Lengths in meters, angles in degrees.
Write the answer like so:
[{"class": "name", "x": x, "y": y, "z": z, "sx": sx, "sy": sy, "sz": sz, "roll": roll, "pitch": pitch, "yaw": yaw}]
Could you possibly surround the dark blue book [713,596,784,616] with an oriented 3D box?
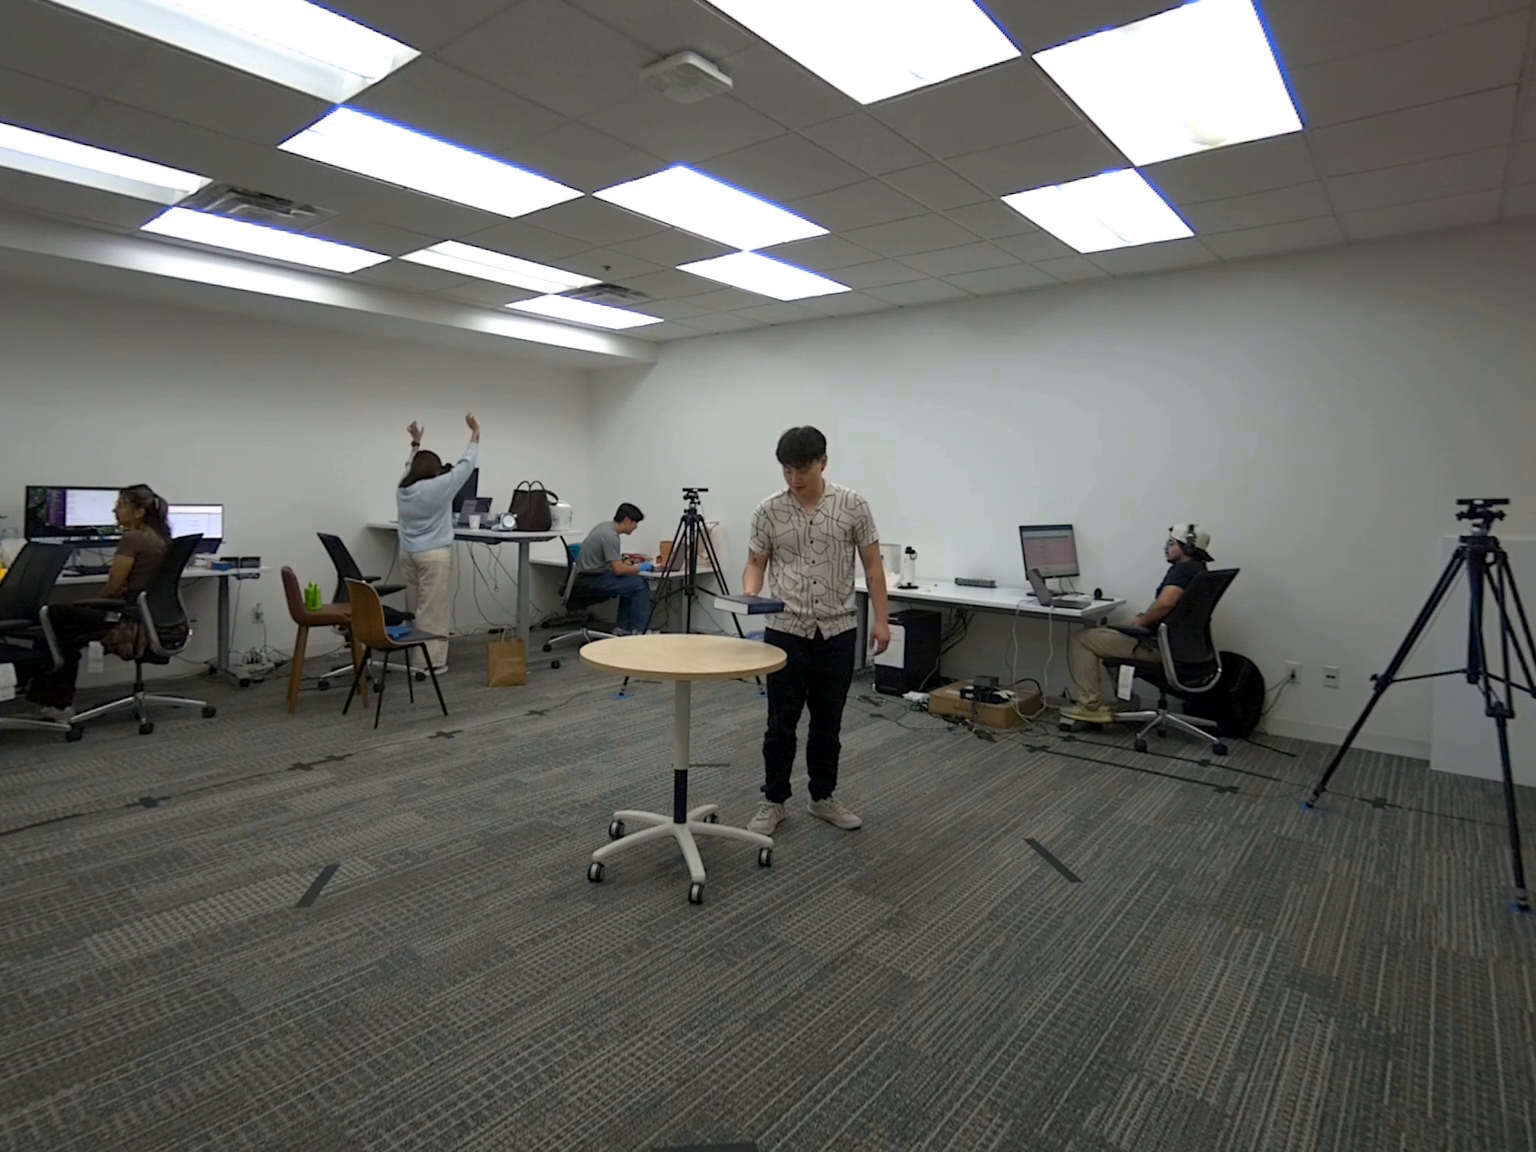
[{"class": "dark blue book", "x": -0.078, "y": 0.105, "z": 3.202, "sx": 0.169, "sy": 0.045, "sz": 0.237, "roll": 10, "pitch": 5, "yaw": 38}]
